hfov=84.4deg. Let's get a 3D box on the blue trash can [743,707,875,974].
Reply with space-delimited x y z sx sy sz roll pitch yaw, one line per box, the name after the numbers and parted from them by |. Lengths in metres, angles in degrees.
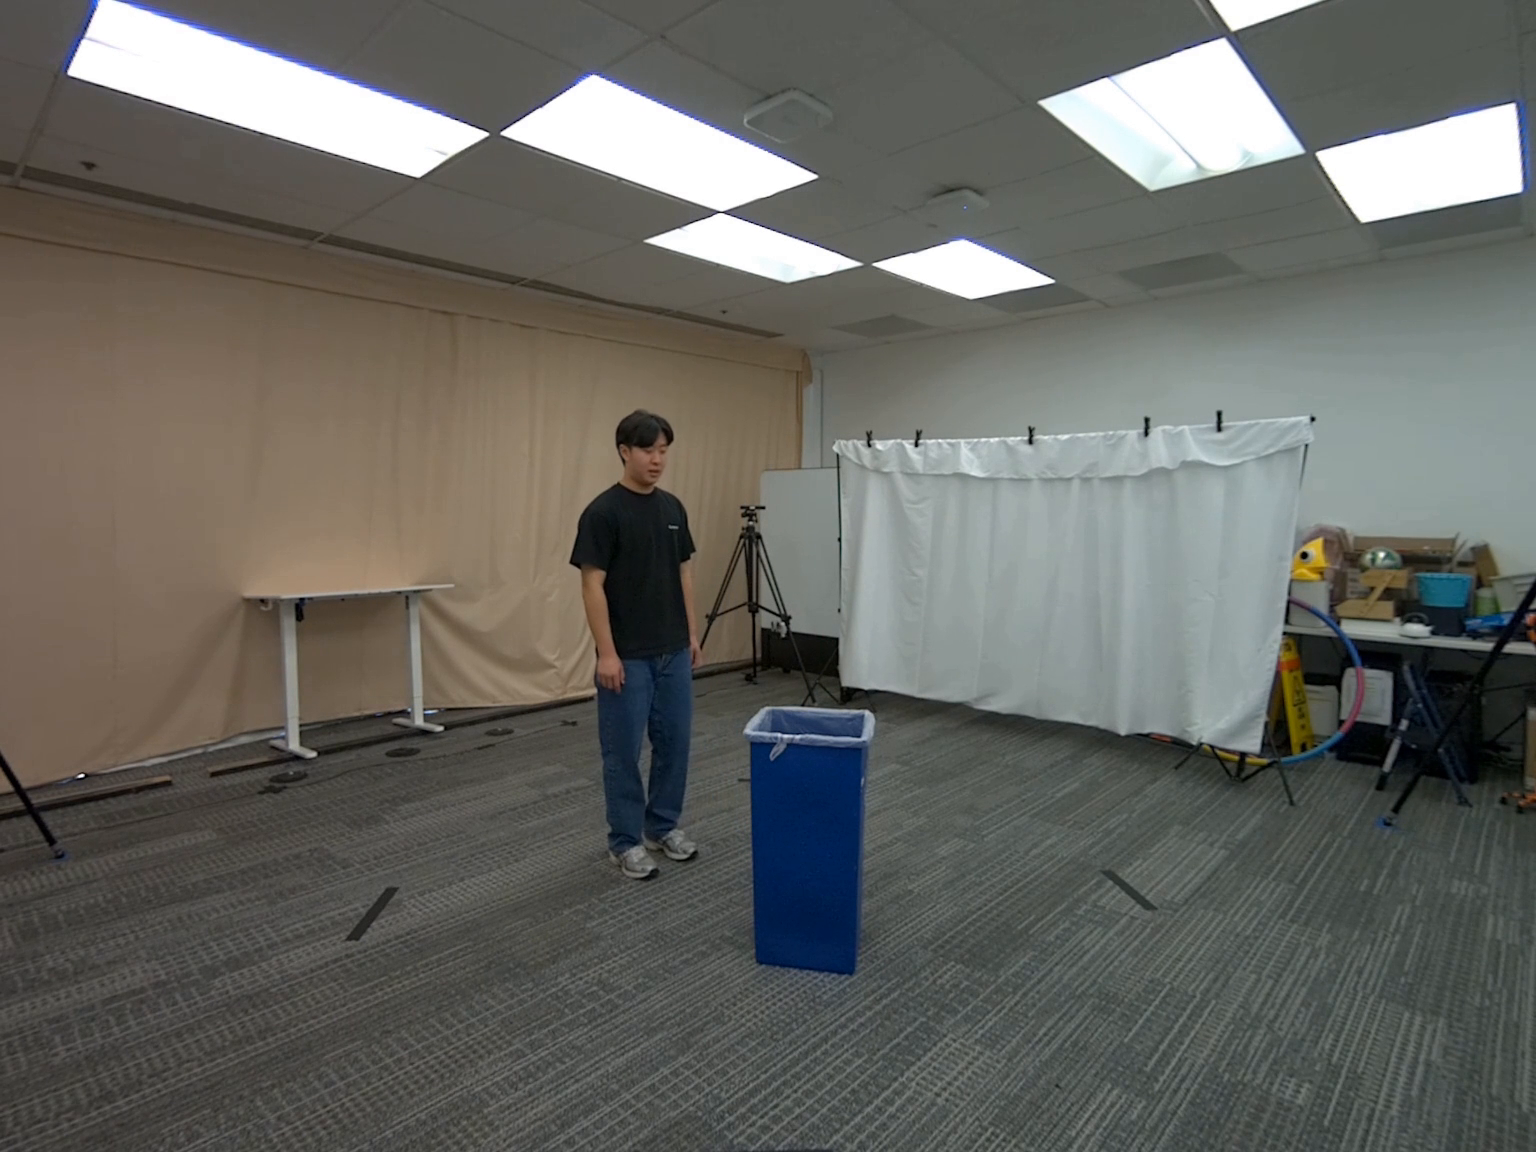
0.142 0.812 2.649 0.383 0.713 0.369 1 2 11 | blue trash can
